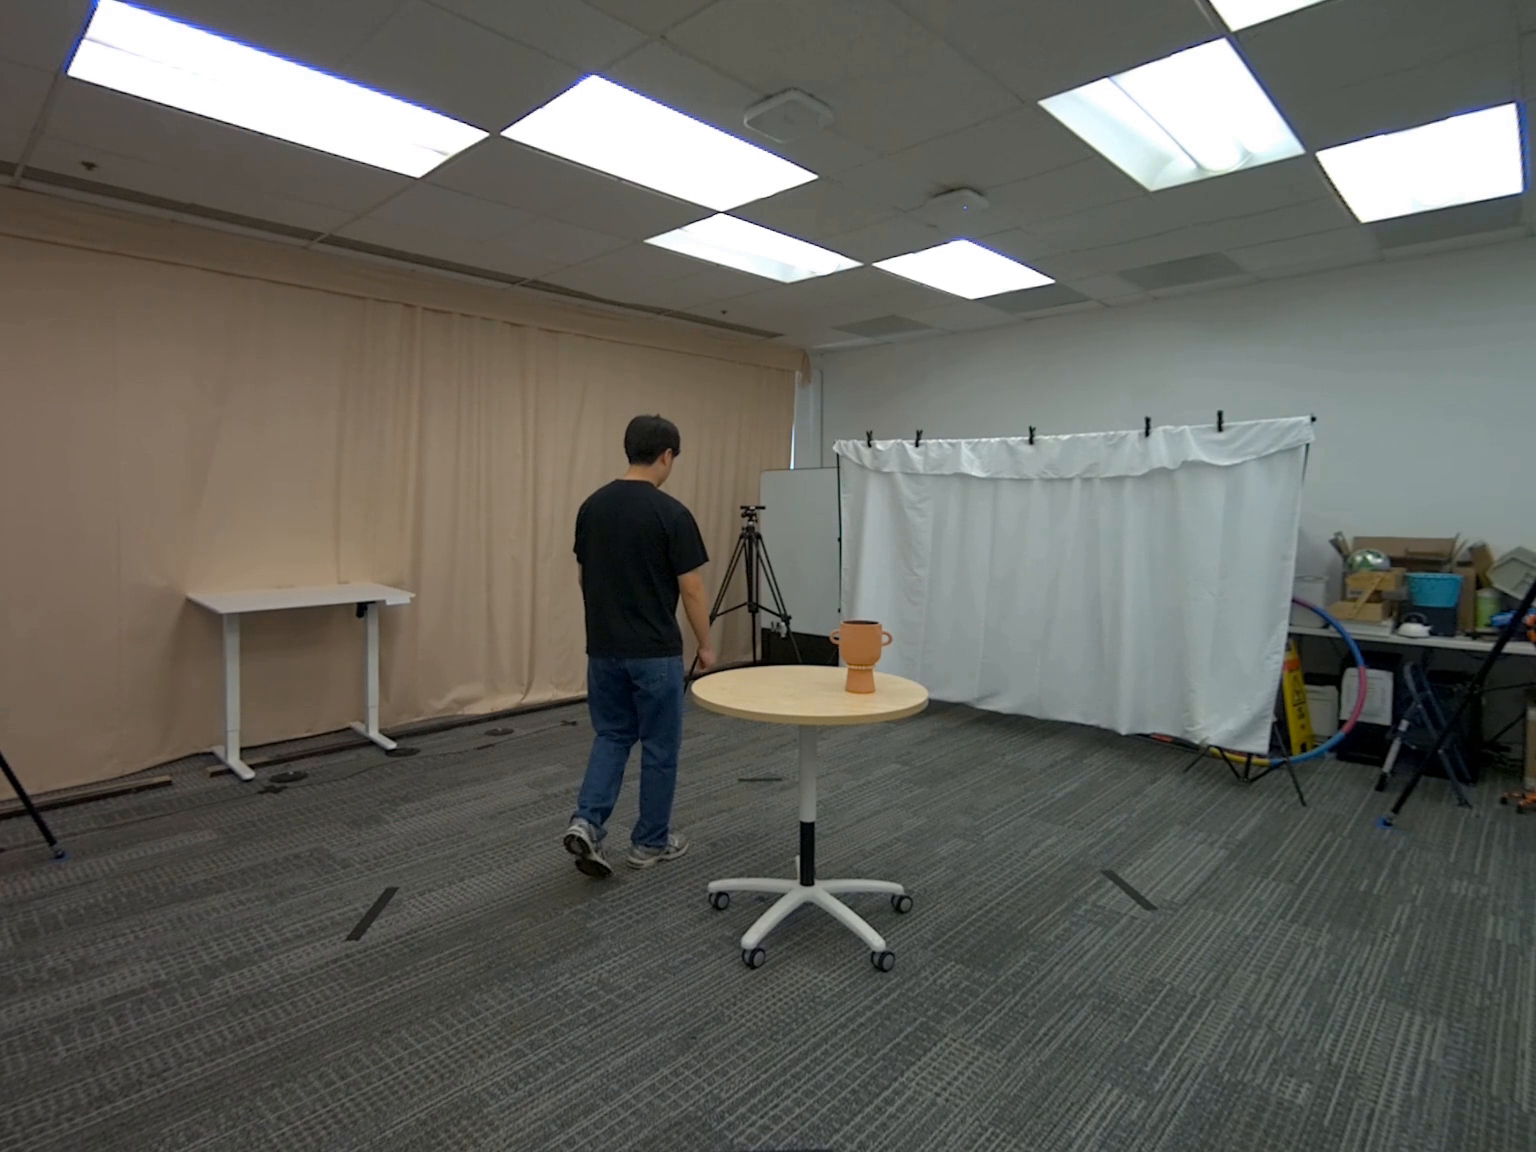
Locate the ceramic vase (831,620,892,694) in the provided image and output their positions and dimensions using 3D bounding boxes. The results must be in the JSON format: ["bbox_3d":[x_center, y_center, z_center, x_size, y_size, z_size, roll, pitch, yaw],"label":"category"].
[{"bbox_3d":[0.306,0.261,2.710,0.130,0.219,0.164,-1,2,-44],"label":"ceramic vase"}]
